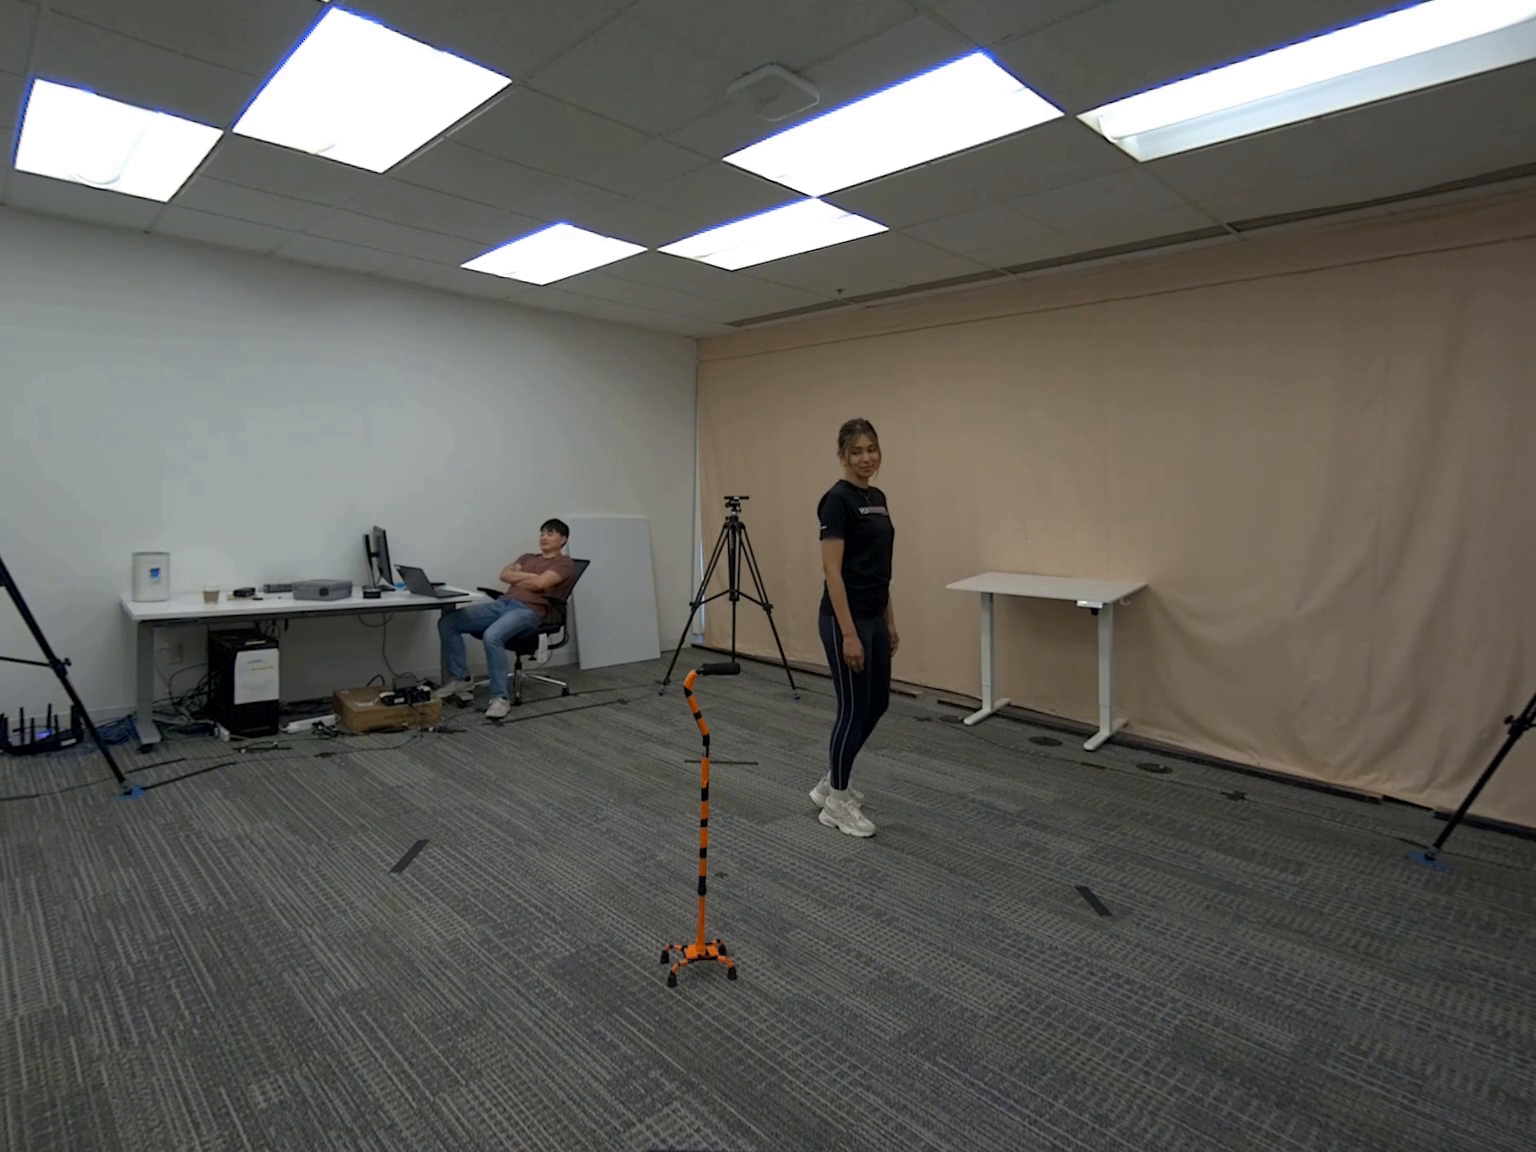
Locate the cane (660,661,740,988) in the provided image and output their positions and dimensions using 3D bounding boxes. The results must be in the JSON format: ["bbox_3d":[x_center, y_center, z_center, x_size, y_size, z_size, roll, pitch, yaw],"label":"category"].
[{"bbox_3d":[-0.194,0.710,2.447,0.204,0.905,0.154,1,4,-15],"label":"cane"}]
